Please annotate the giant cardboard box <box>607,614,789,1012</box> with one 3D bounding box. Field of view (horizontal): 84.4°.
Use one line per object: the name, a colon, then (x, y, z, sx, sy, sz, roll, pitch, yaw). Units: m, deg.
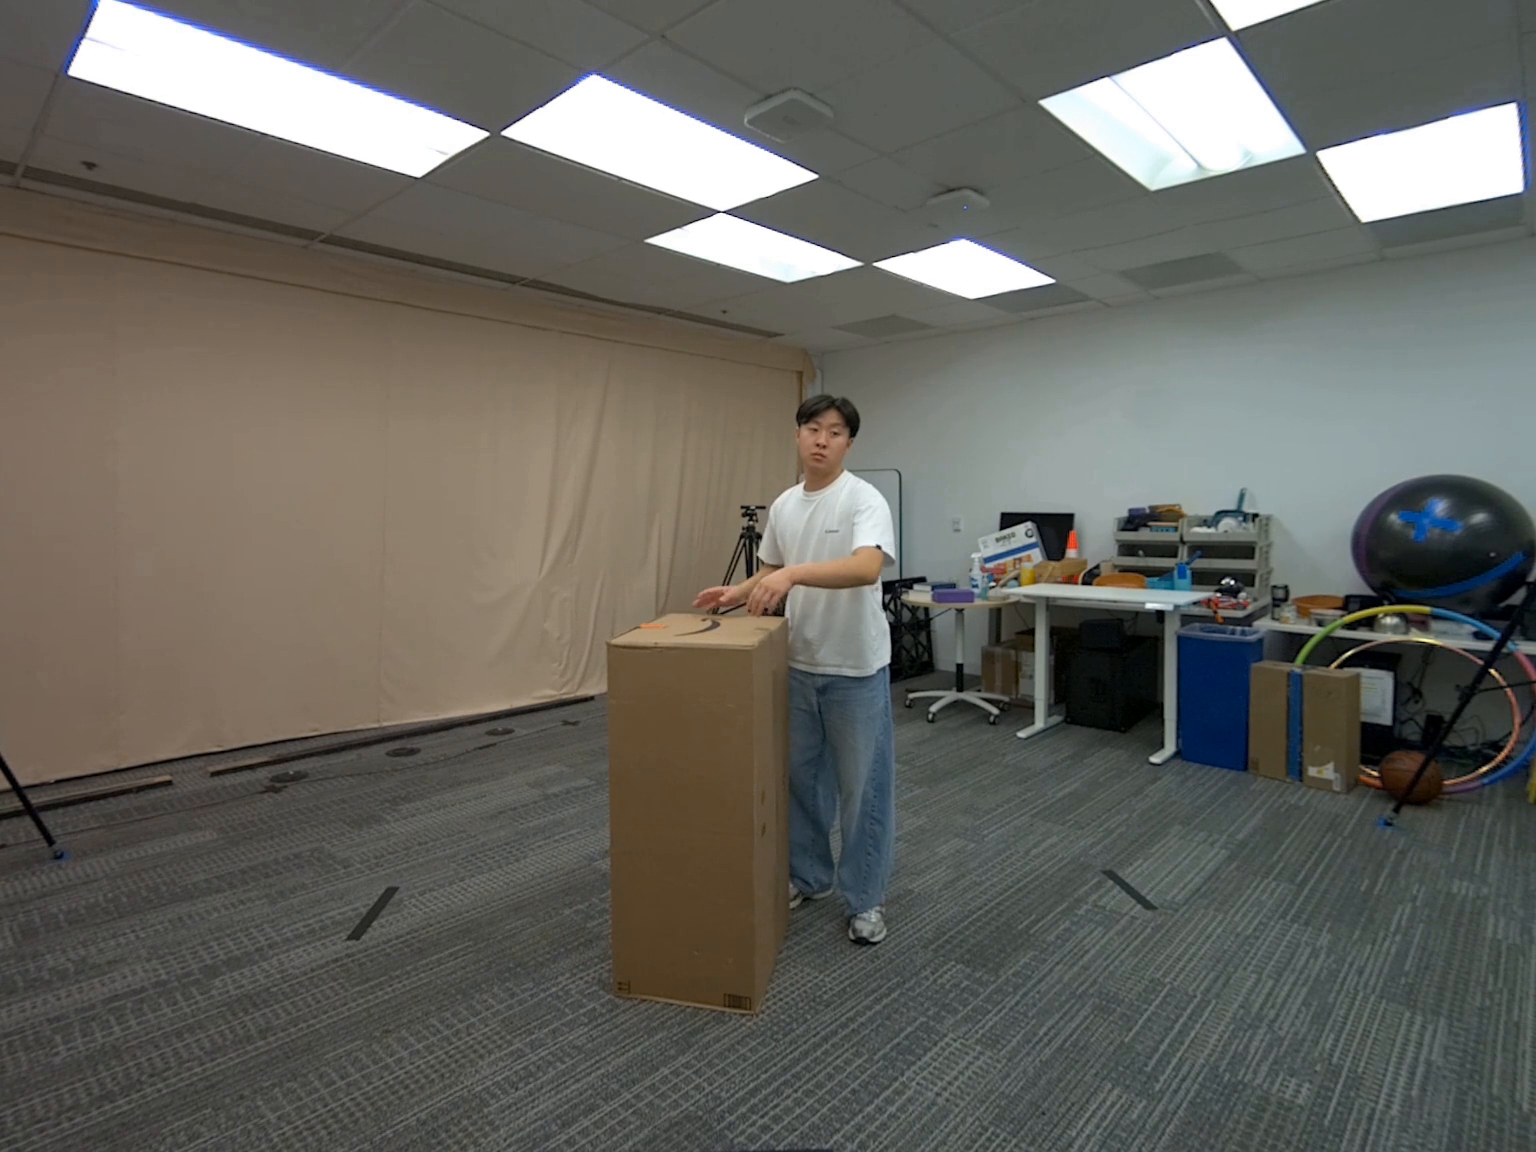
giant cardboard box: (-0.193, 0.664, 2.587, 0.432, 1.024, 0.571, 1, 3, 12)
